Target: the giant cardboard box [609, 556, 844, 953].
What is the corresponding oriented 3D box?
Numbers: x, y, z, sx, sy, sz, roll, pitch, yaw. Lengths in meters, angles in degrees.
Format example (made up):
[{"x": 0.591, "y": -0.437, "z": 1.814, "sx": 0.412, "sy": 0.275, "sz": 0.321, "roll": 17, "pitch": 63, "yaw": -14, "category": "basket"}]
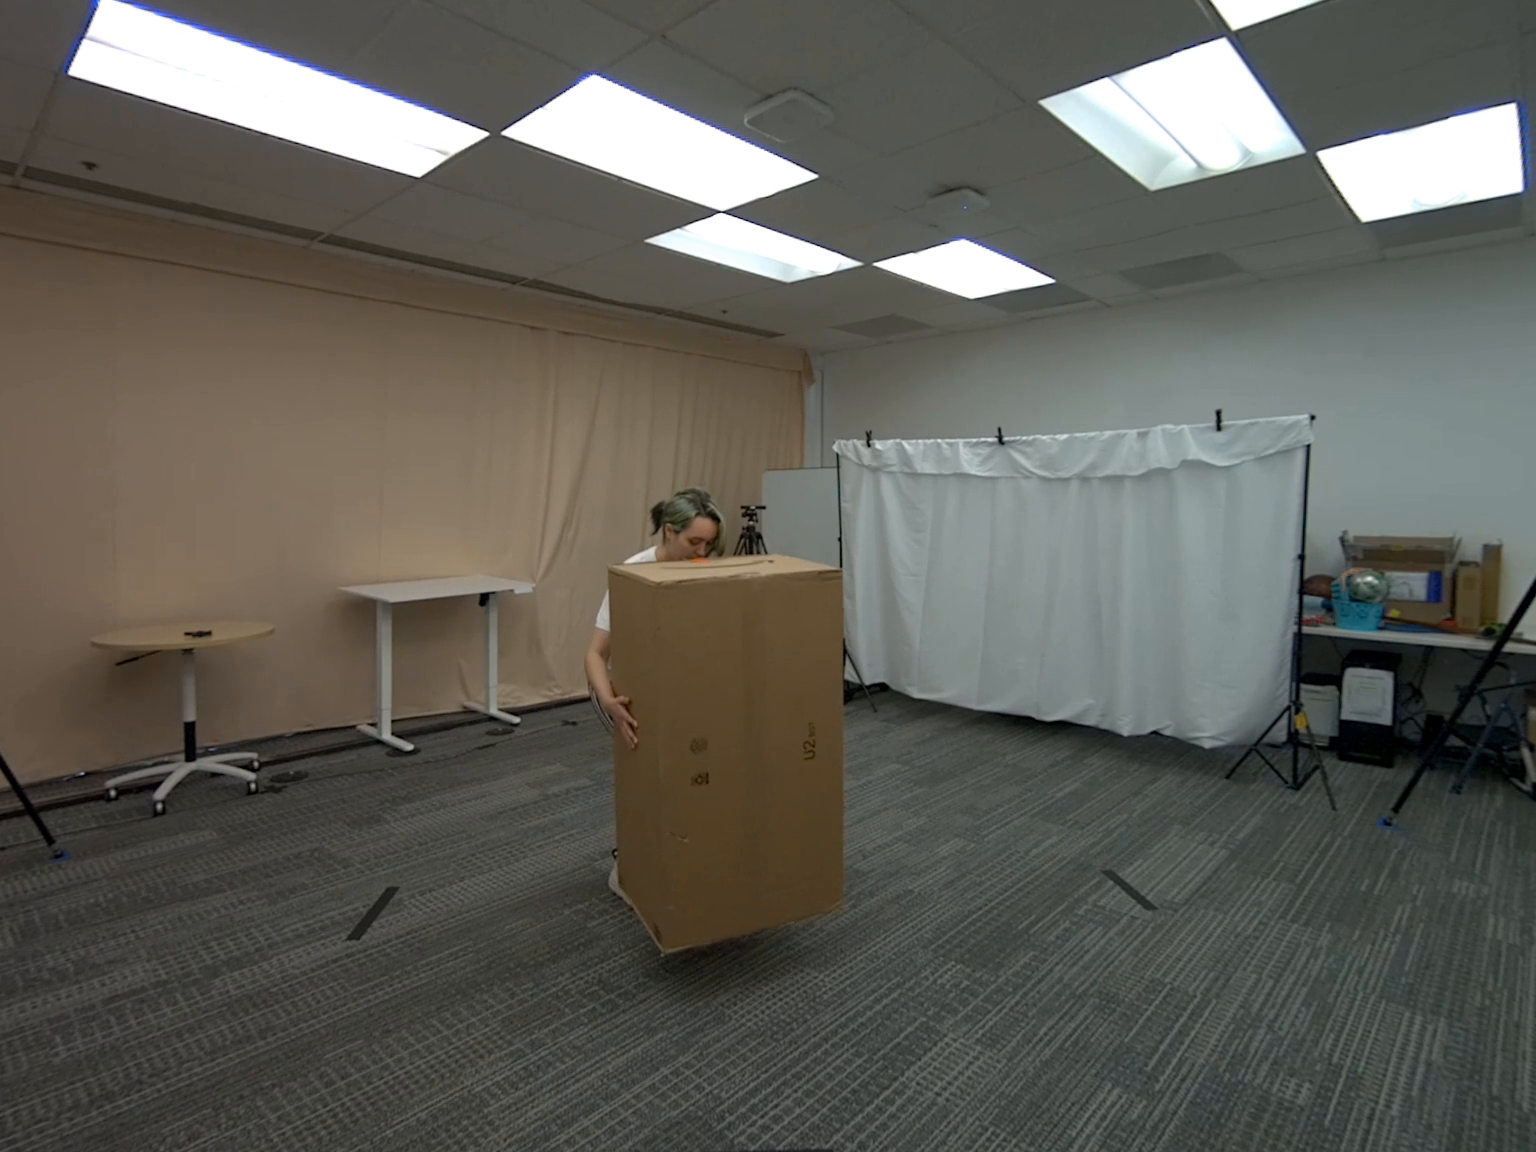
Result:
[{"x": -0.127, "y": 0.479, "z": 2.528, "sx": 0.564, "sy": 1.021, "sz": 0.438, "roll": -3, "pitch": 7, "yaw": -25, "category": "giant cardboard box"}]
